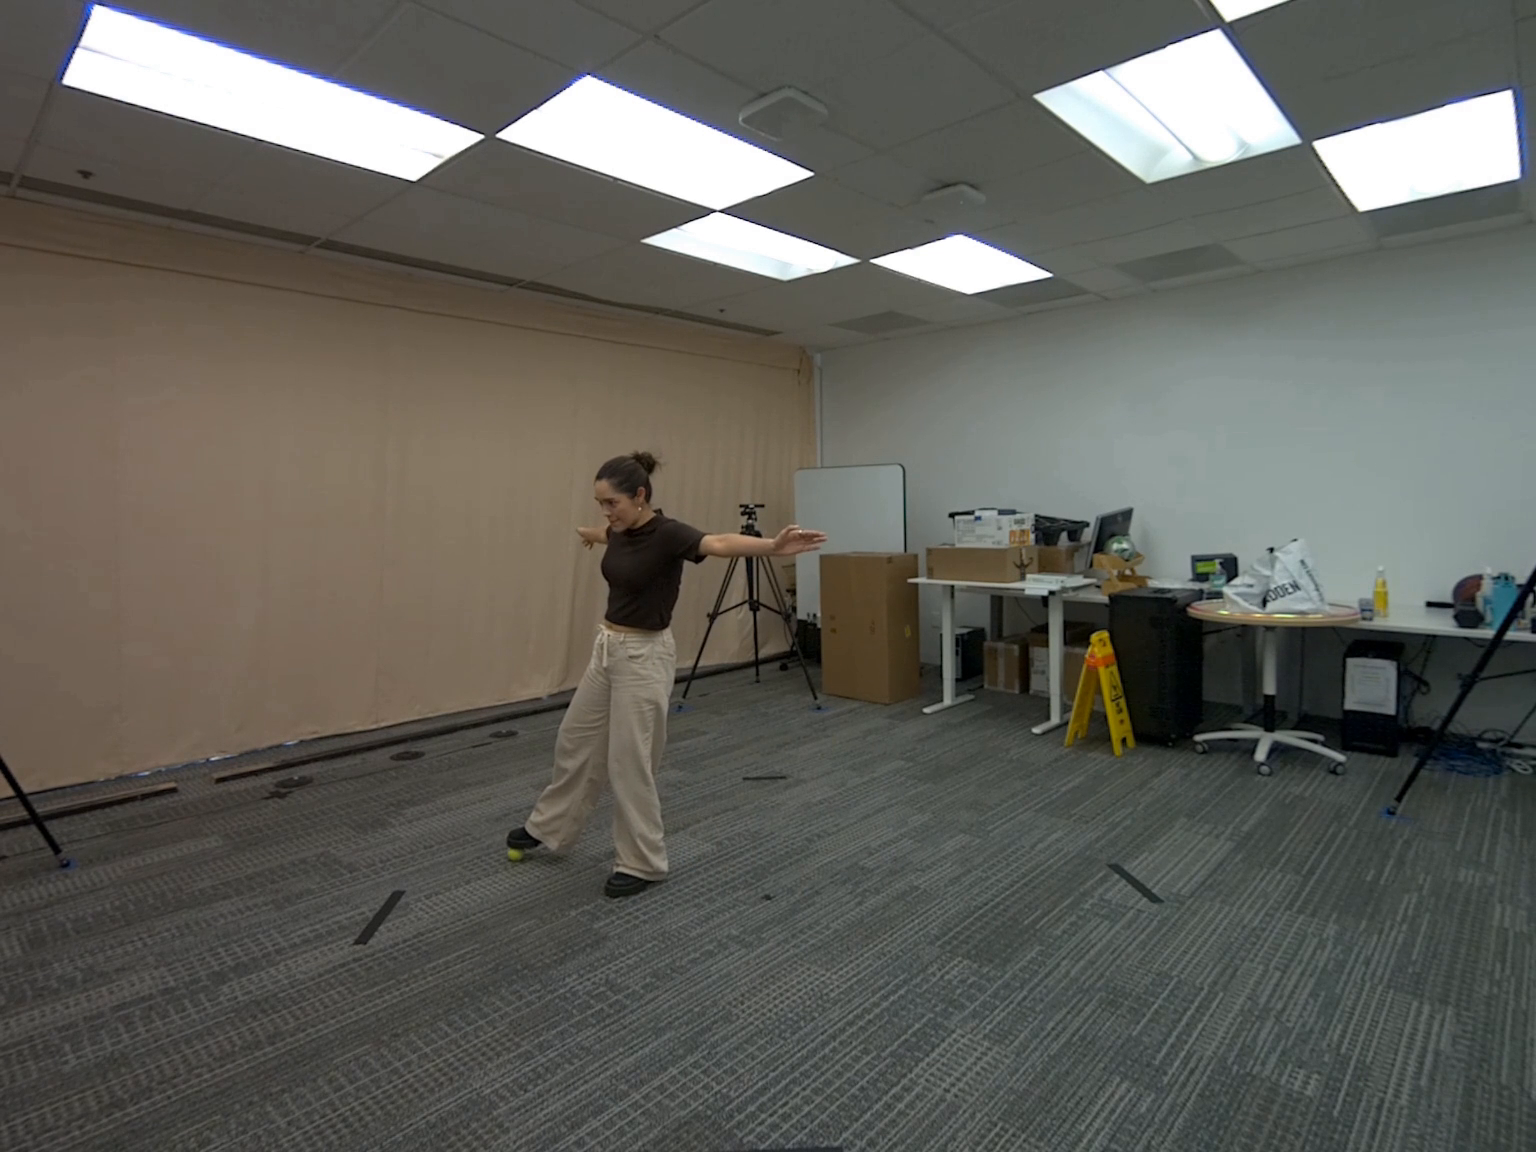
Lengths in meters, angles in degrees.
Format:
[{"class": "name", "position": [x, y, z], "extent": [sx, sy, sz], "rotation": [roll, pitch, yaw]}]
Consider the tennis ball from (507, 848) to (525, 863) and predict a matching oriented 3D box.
[{"class": "tennis ball", "position": [-1.009, 1.094, 3.365], "extent": [0.066, 0.066, 0.067], "rotation": [-1, 4, -2]}]
